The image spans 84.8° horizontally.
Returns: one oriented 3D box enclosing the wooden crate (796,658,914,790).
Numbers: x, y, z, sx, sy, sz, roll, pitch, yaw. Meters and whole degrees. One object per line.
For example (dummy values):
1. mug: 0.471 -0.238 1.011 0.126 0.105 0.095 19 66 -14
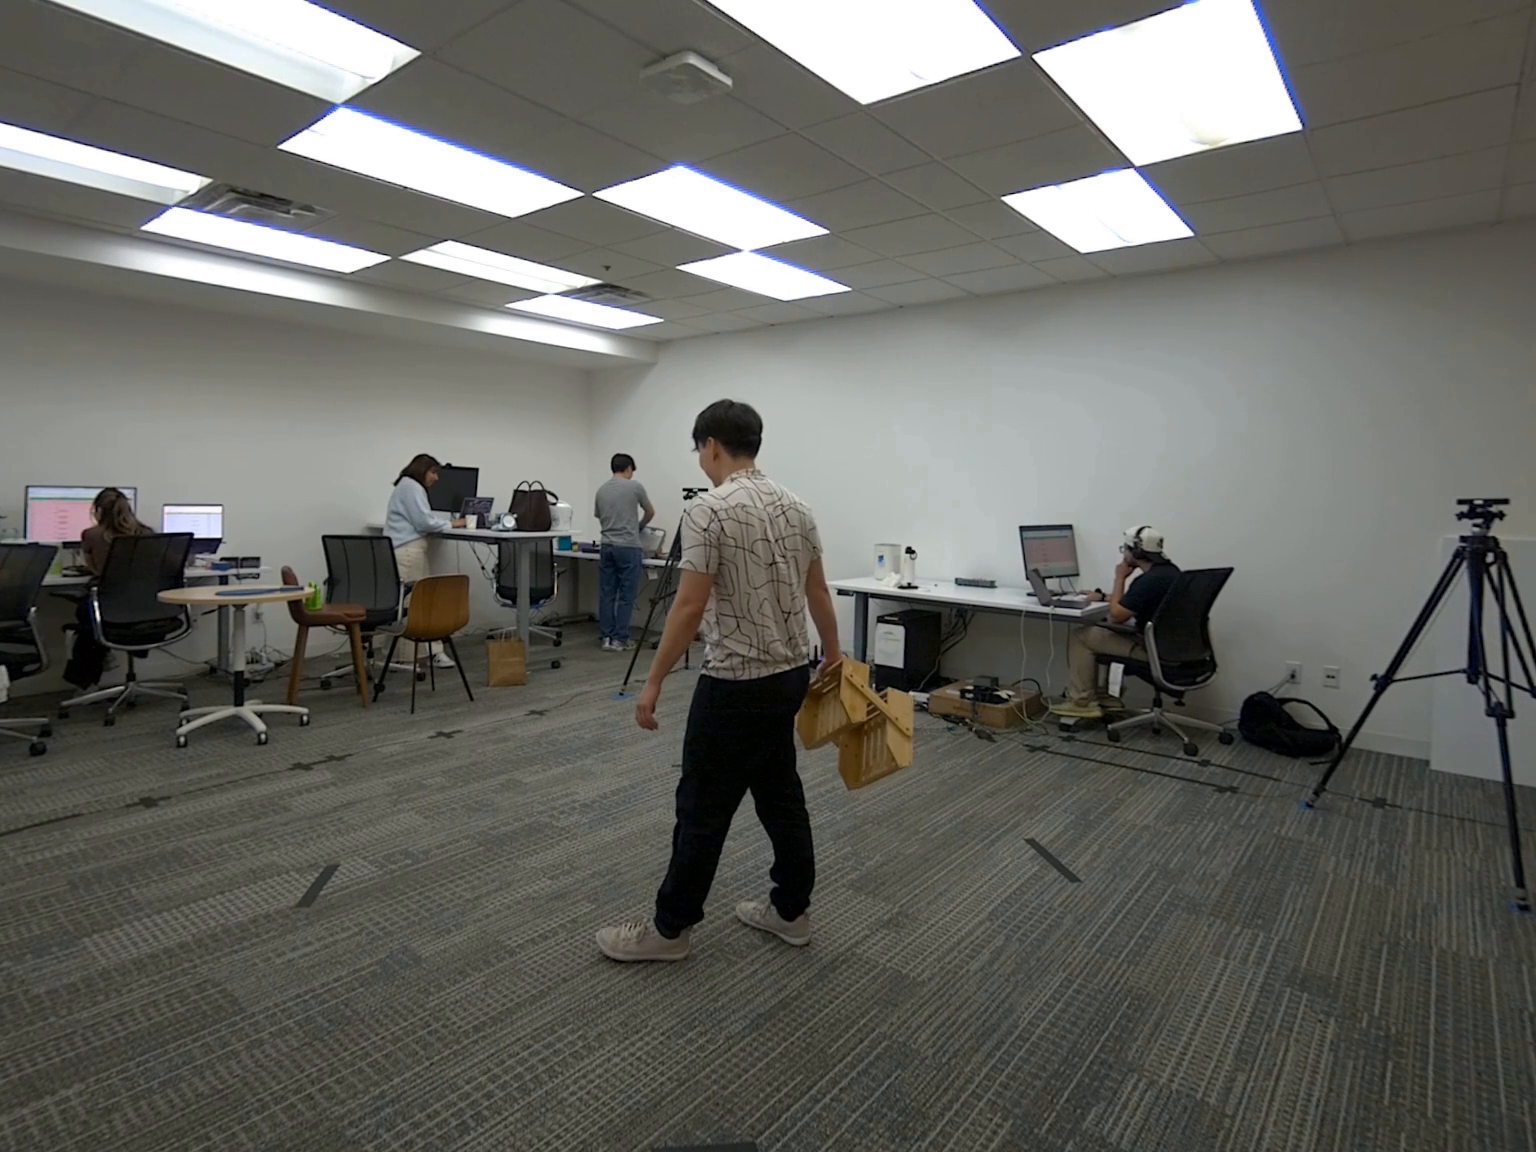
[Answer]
1. wooden crate: 0.253 0.485 2.760 0.268 0.308 0.324 22 -35 -16
